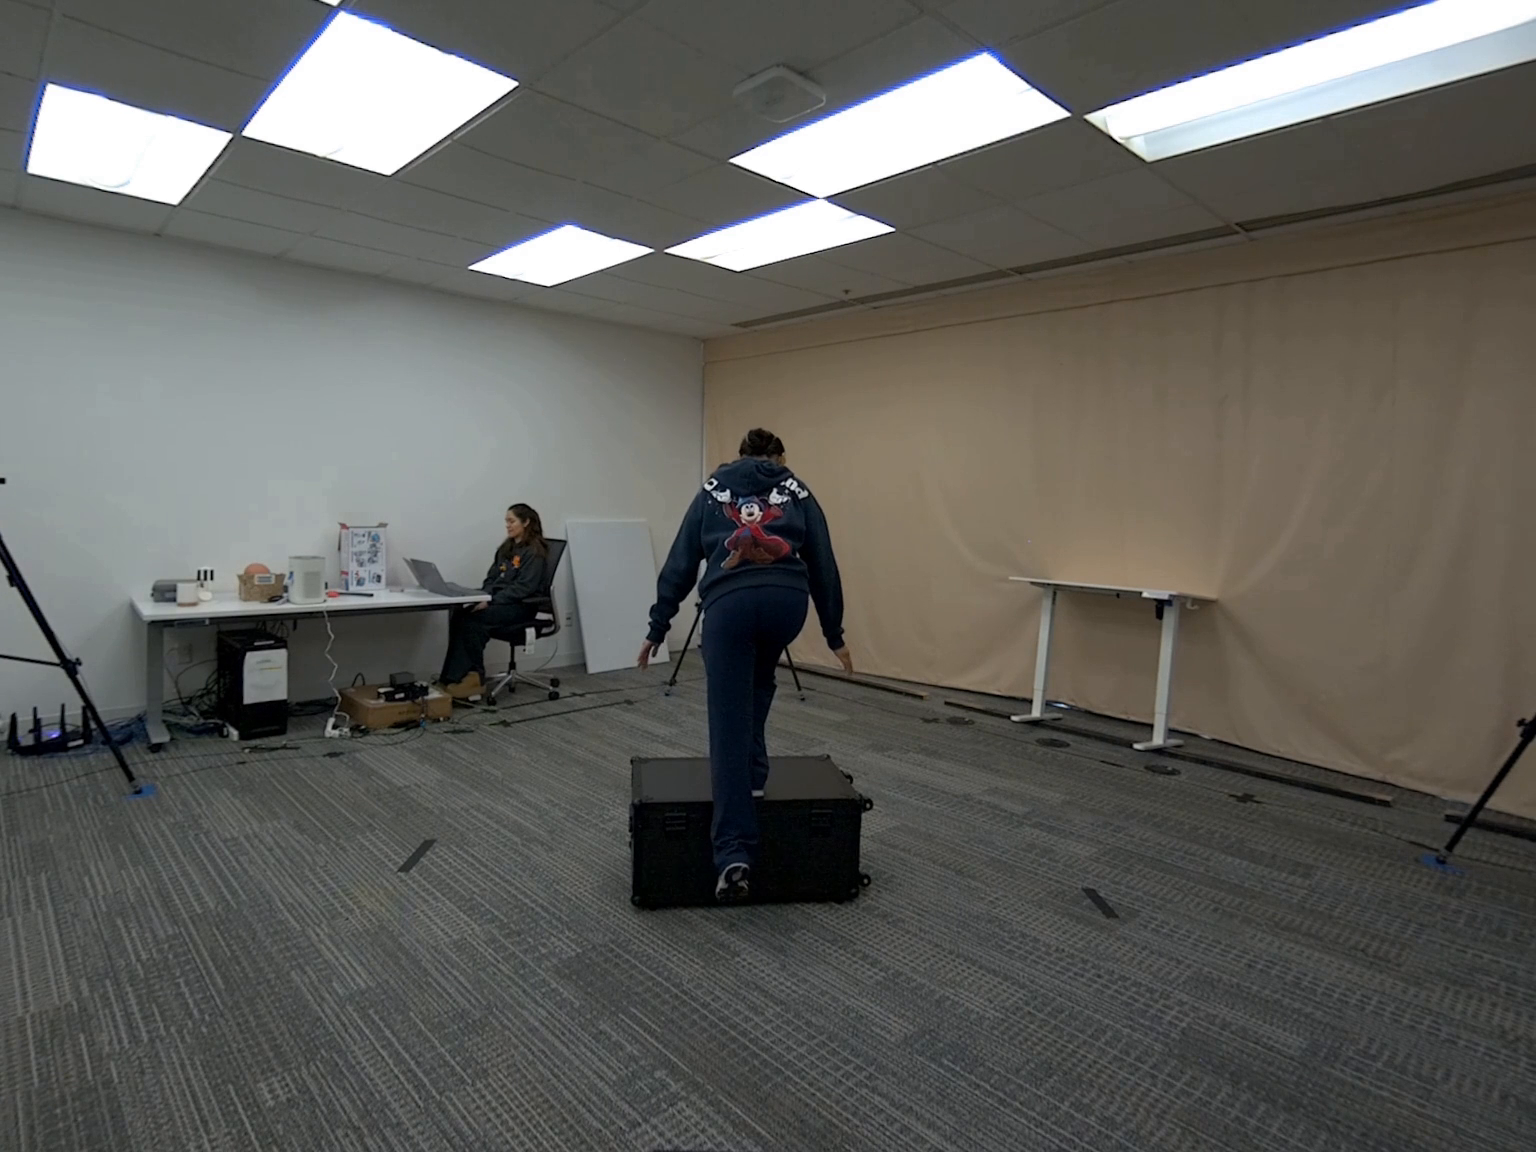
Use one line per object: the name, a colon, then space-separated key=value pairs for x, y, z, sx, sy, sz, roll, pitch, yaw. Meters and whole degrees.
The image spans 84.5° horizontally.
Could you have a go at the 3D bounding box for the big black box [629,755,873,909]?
big black box: x=-0.078 y=0.919 z=3.090 sx=0.855 sy=0.395 sz=0.526 roll=0 pitch=5 yaw=-9
